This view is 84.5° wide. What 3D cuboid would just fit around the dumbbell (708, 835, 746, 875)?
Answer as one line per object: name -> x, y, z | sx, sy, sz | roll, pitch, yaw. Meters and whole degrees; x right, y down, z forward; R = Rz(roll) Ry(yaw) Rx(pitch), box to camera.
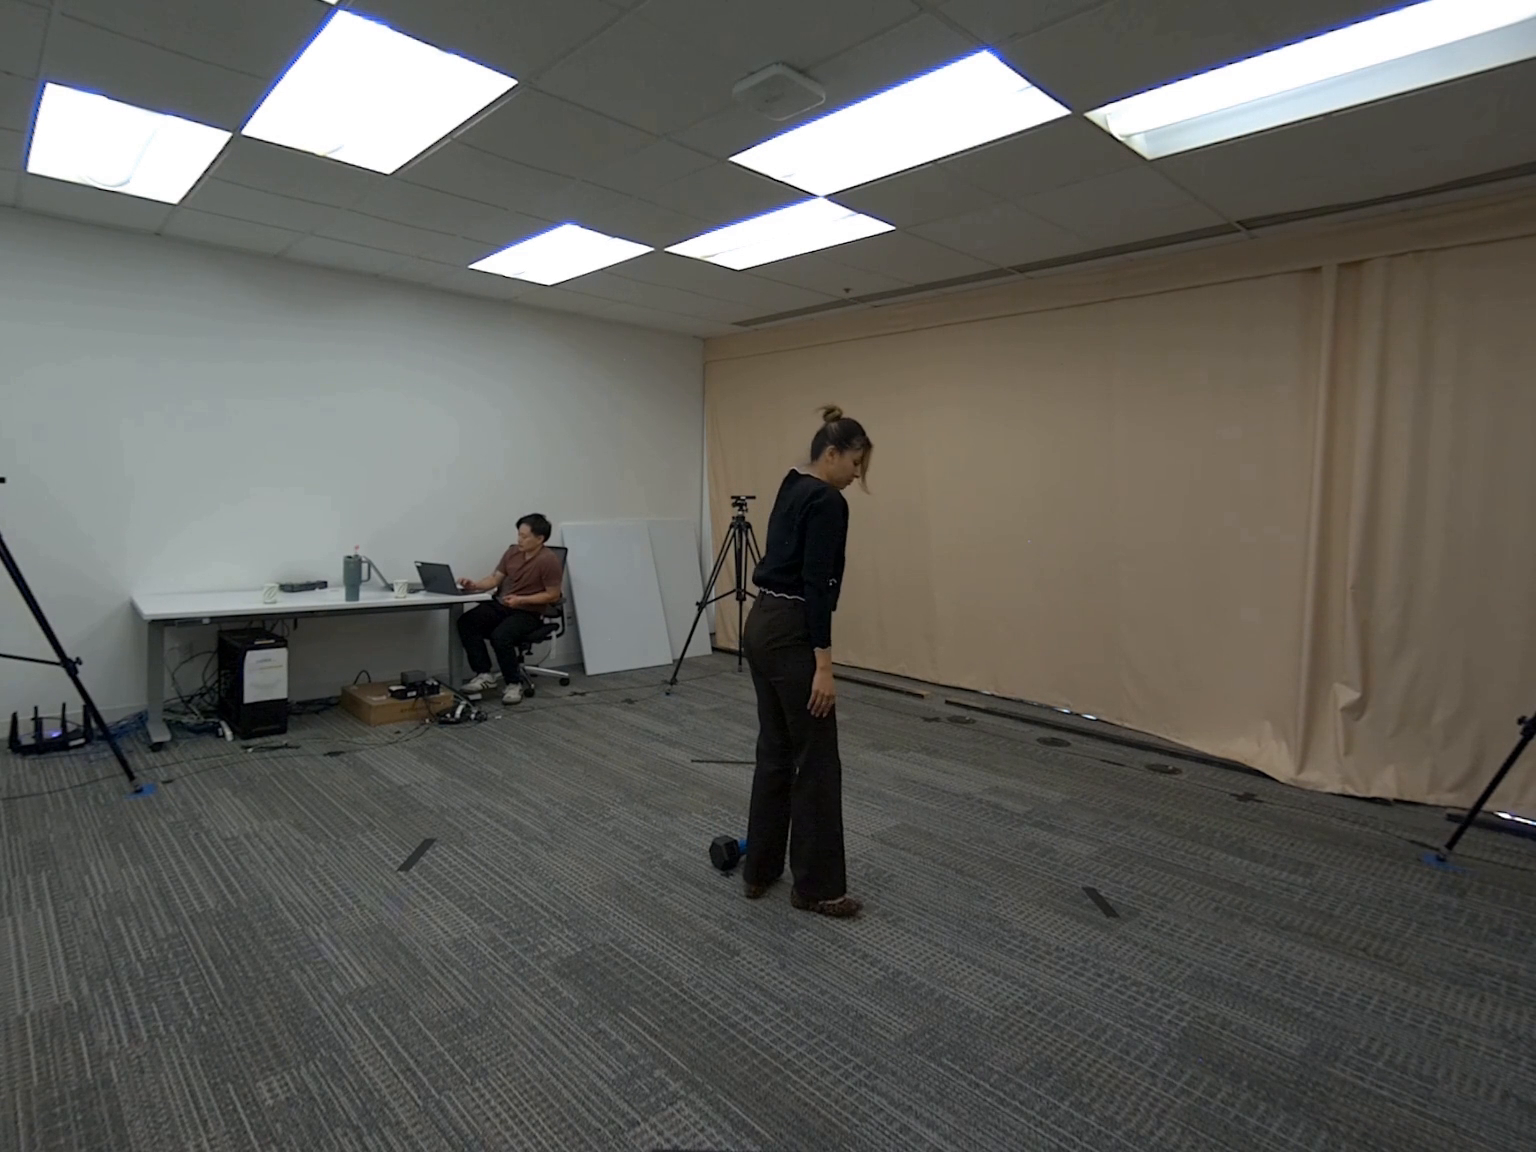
dumbbell -> -0.089, 1.037, 3.231 | 0.287, 0.108, 0.126 | -5, 8, -40
